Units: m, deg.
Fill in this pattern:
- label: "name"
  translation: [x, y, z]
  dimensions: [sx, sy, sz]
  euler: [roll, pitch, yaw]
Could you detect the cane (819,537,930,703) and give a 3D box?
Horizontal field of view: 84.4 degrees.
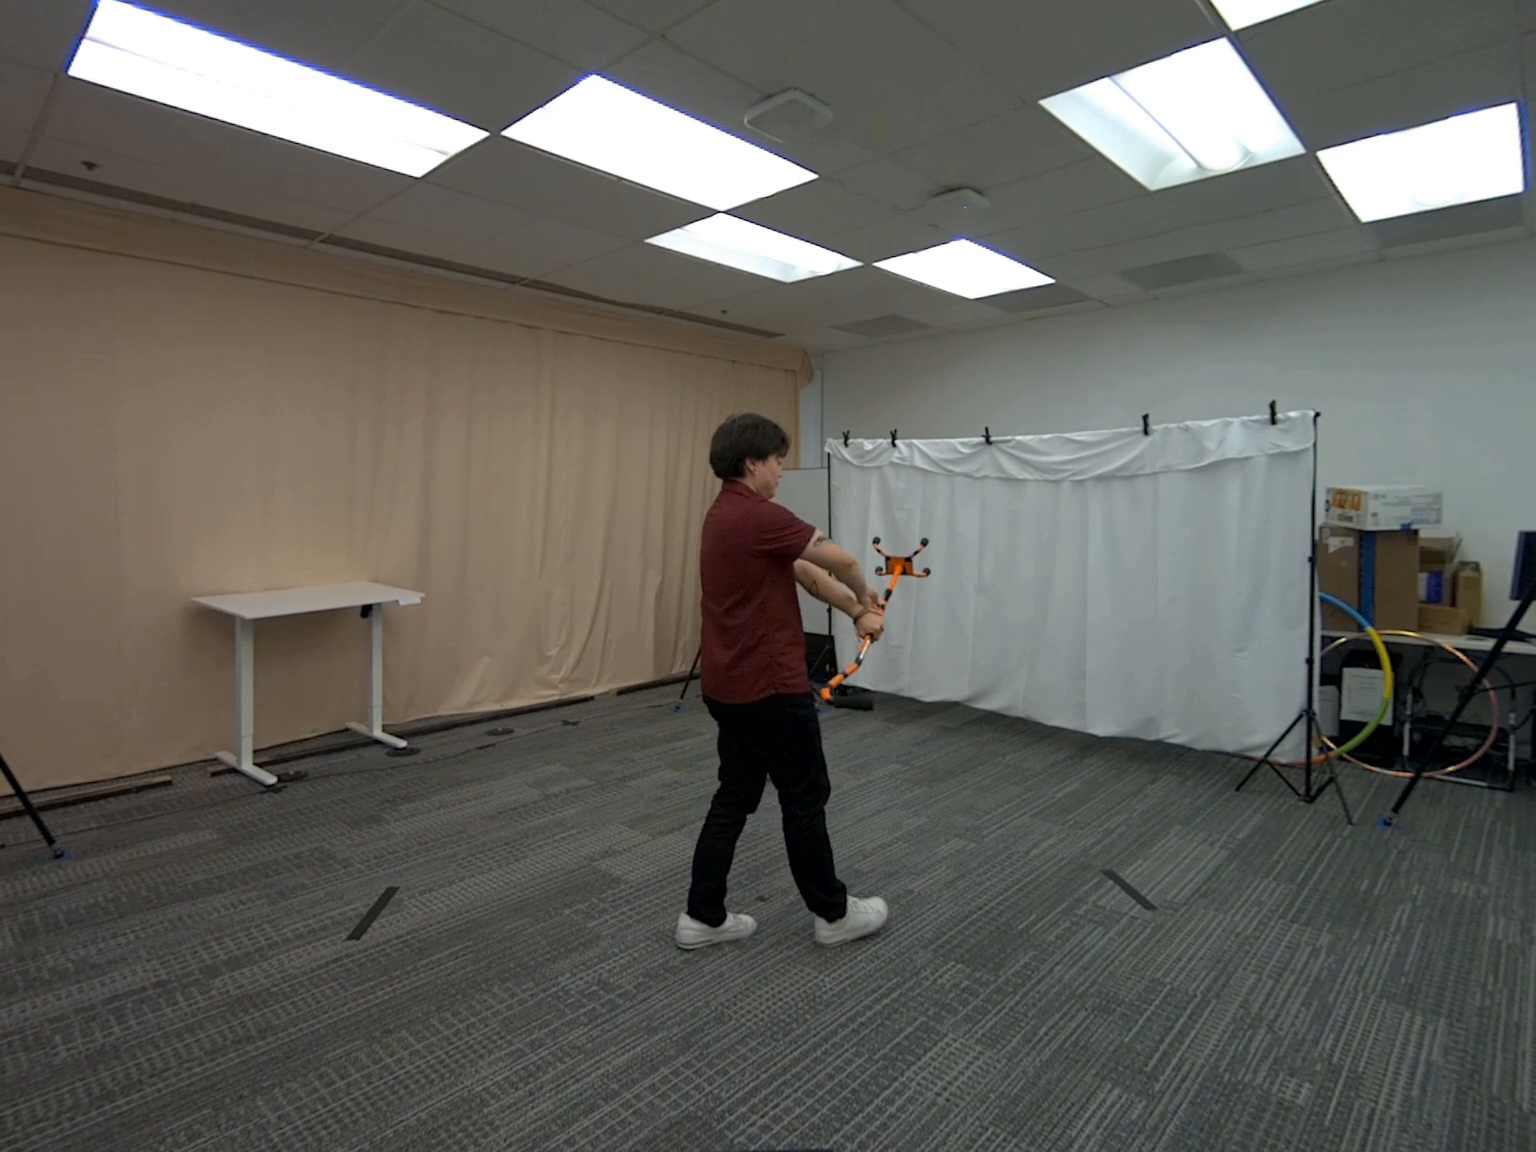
- label: "cane"
  translation: [0.357, 0.146, 2.750]
  dimensions: [0.211, 0.149, 0.903]
  euler: [2, 30, 22]
